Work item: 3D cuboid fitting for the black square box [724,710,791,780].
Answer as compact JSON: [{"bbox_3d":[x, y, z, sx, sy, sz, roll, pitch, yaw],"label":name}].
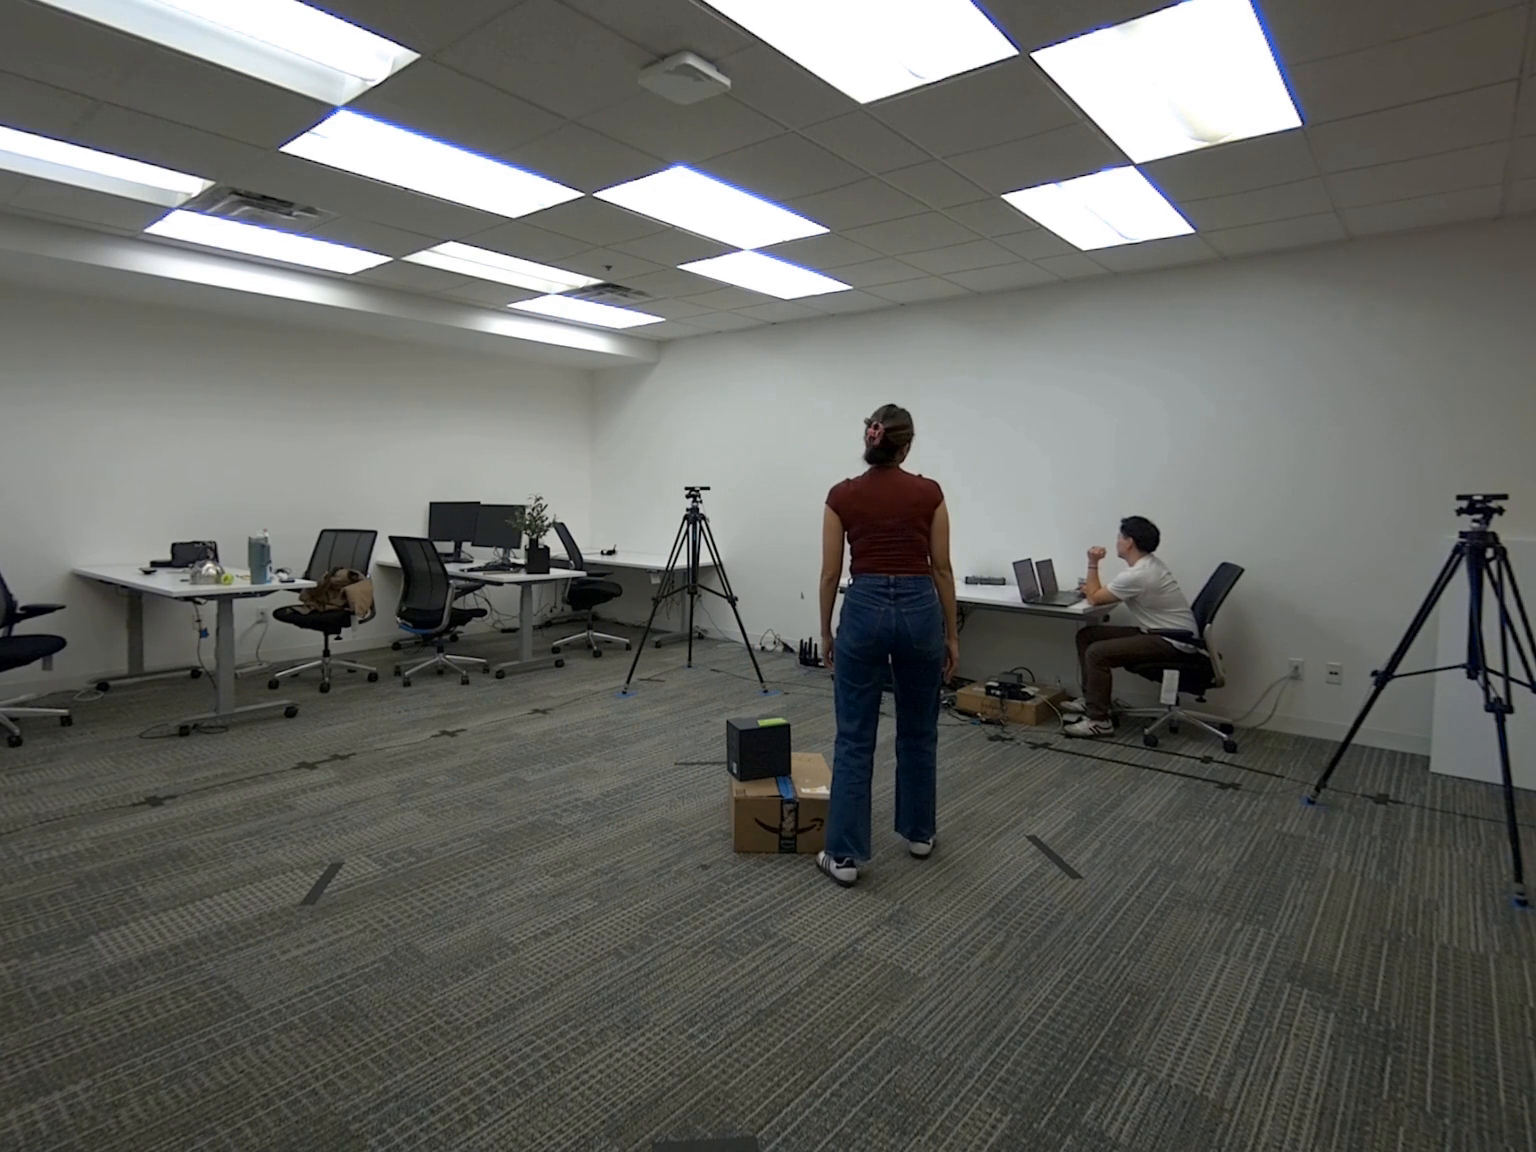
[{"bbox_3d":[-0.047,0.696,3.491,0.223,0.216,0.159,-2,4,-20],"label":"black square box"}]
